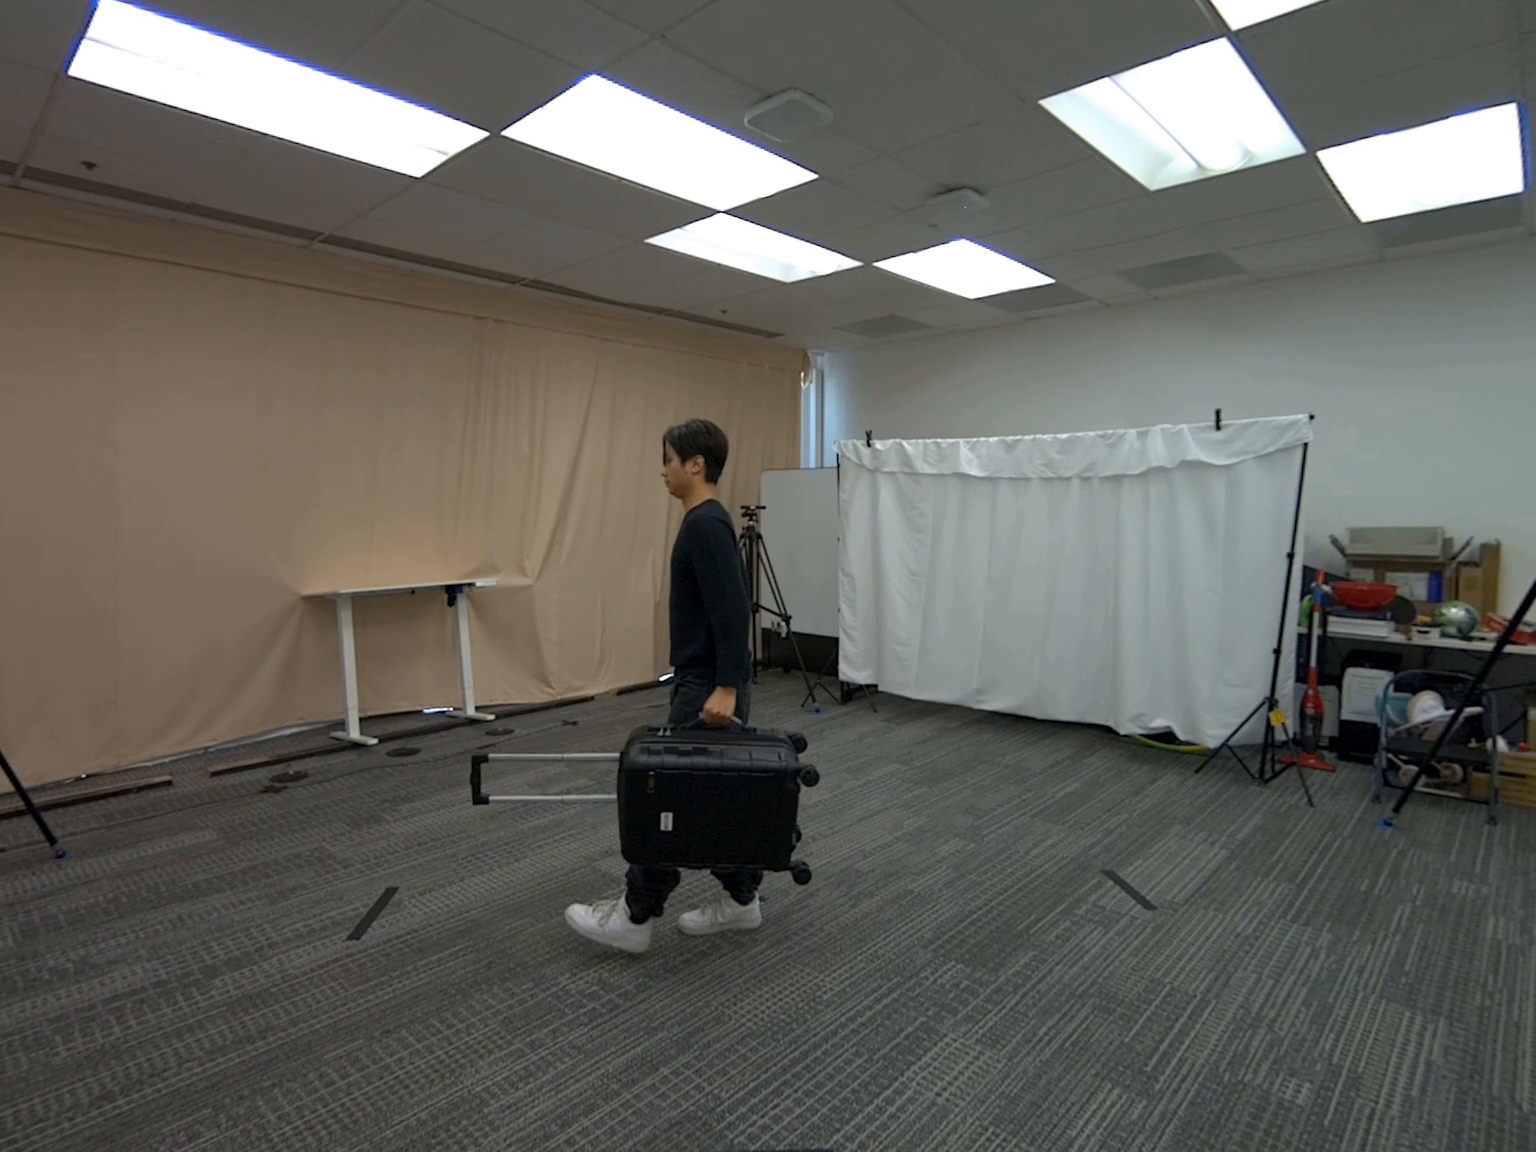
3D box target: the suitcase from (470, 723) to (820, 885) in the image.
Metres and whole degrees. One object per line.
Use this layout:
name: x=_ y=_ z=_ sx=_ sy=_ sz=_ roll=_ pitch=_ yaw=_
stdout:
suitcase: x=-0.355 y=0.623 z=2.386 sx=0.973 sy=0.382 sz=0.260 roll=3 pitch=11 yaw=-5
